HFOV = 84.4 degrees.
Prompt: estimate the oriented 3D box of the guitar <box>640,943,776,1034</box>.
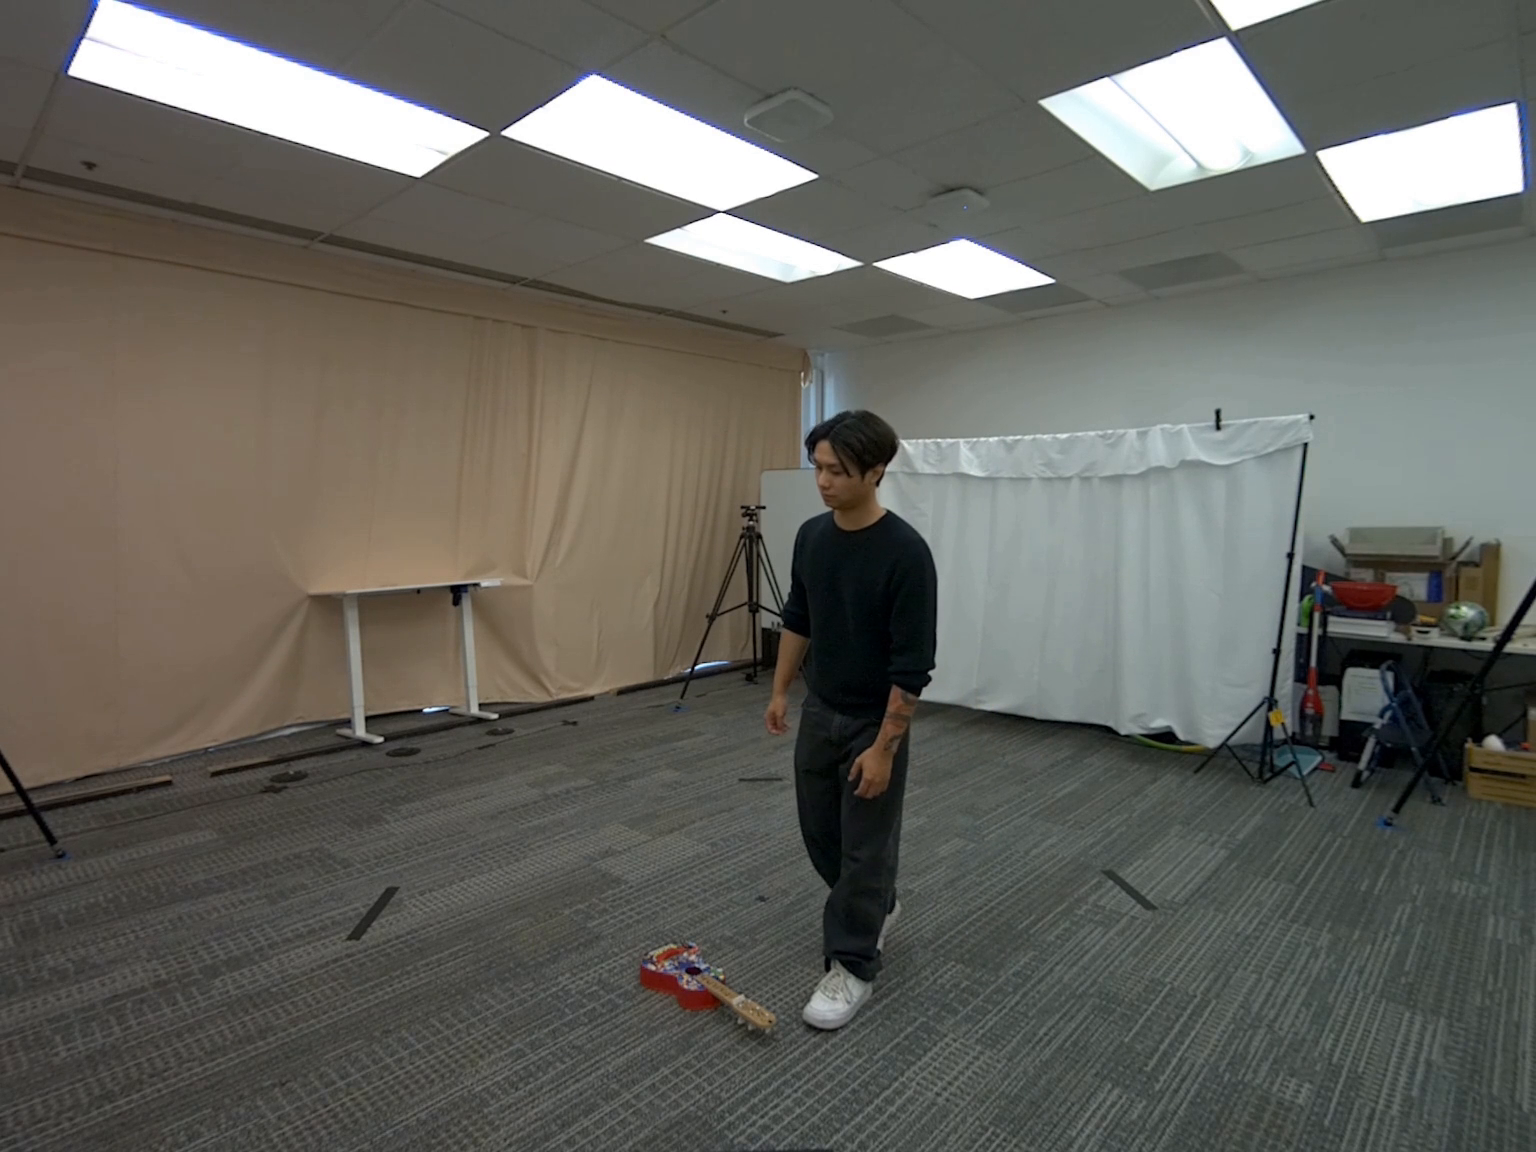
[{"bbox_3d":[-0.182,1.172,2.339,0.187,0.070,0.513,-4,5,-33],"label":"guitar"}]
